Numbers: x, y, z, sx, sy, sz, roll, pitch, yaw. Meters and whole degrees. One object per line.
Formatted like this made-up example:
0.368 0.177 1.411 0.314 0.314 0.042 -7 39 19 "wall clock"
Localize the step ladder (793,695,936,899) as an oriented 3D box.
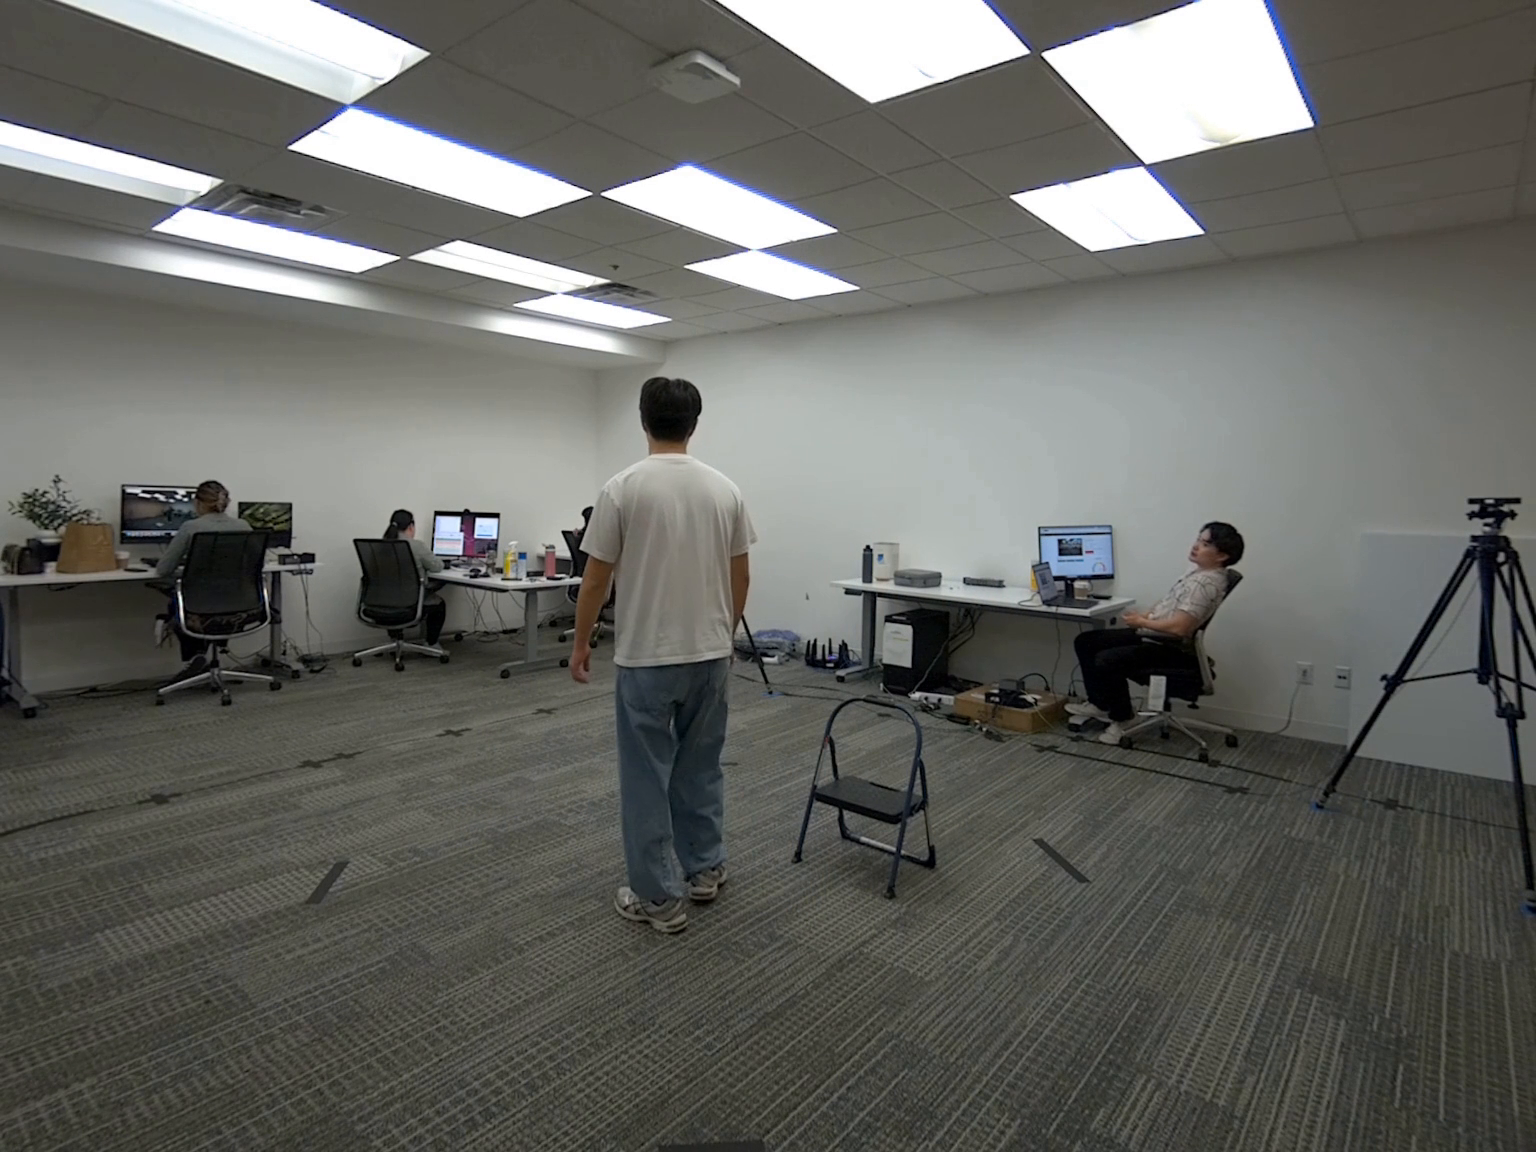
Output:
0.357 0.768 3.156 0.445 0.604 0.339 5 5 39 "step ladder"
